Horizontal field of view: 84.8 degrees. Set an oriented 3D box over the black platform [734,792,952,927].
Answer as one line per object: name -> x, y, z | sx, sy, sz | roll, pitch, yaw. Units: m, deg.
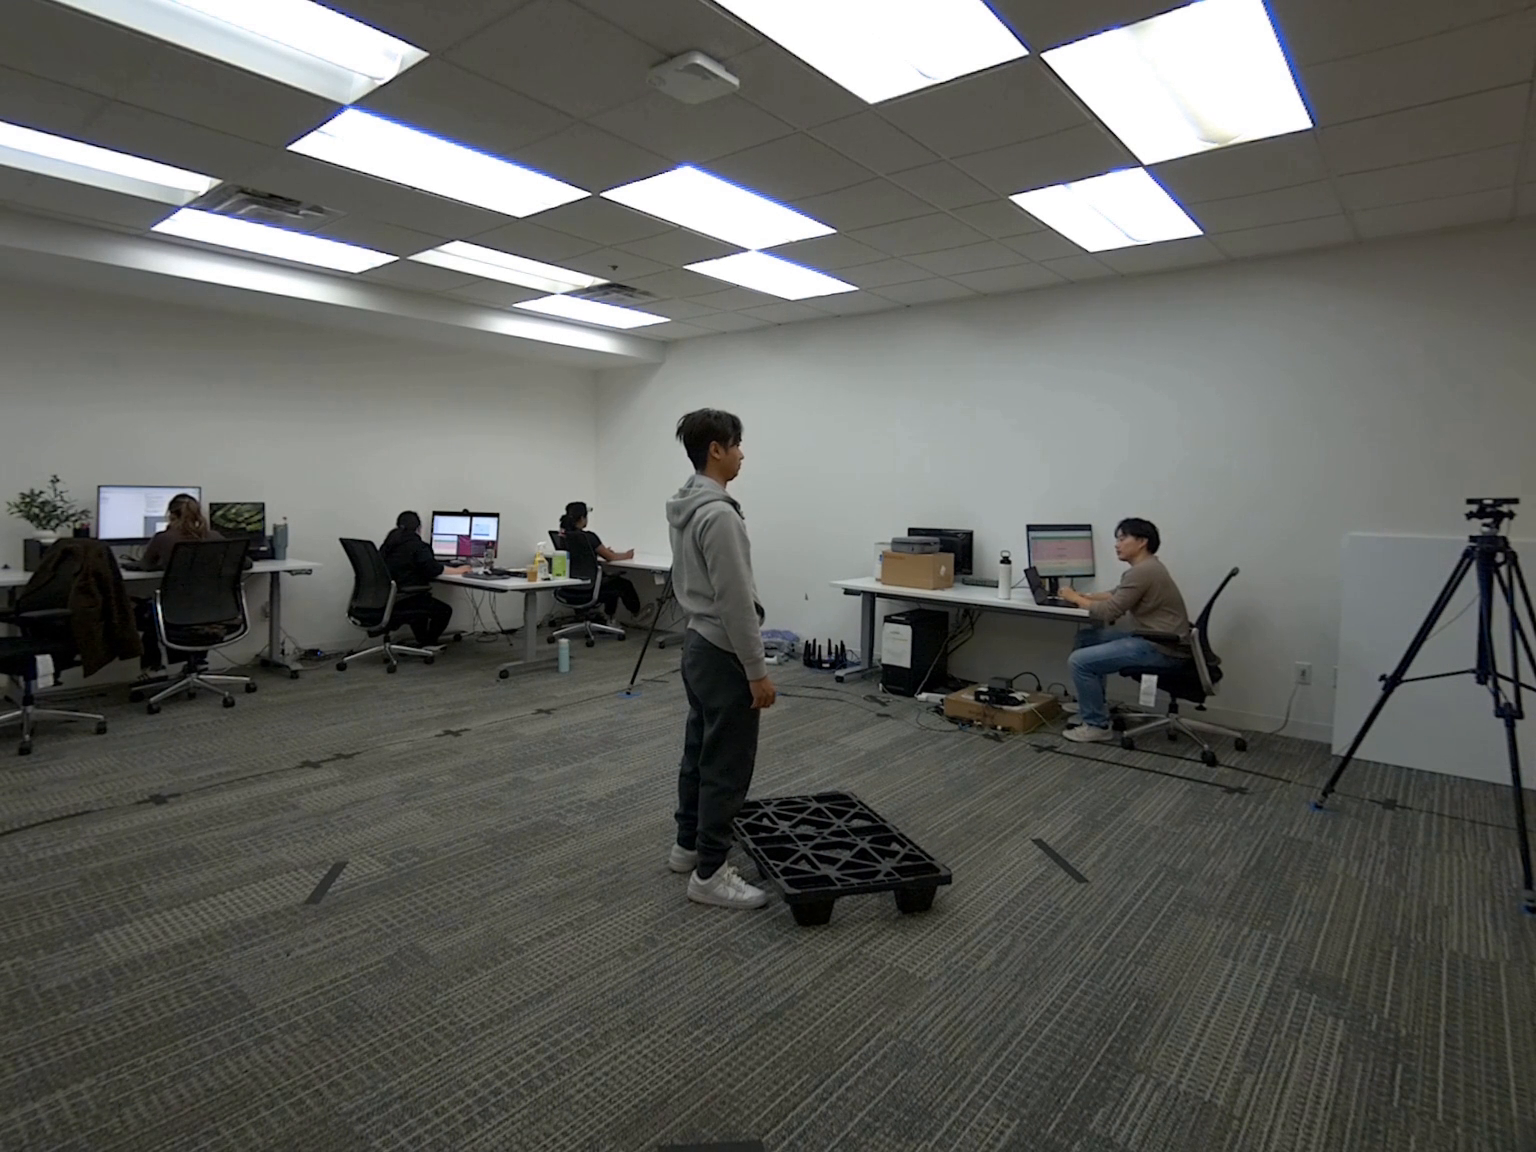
black platform -> 0.194, 1.007, 3.116 | 0.594, 0.143, 0.824 | 0, 6, -19
